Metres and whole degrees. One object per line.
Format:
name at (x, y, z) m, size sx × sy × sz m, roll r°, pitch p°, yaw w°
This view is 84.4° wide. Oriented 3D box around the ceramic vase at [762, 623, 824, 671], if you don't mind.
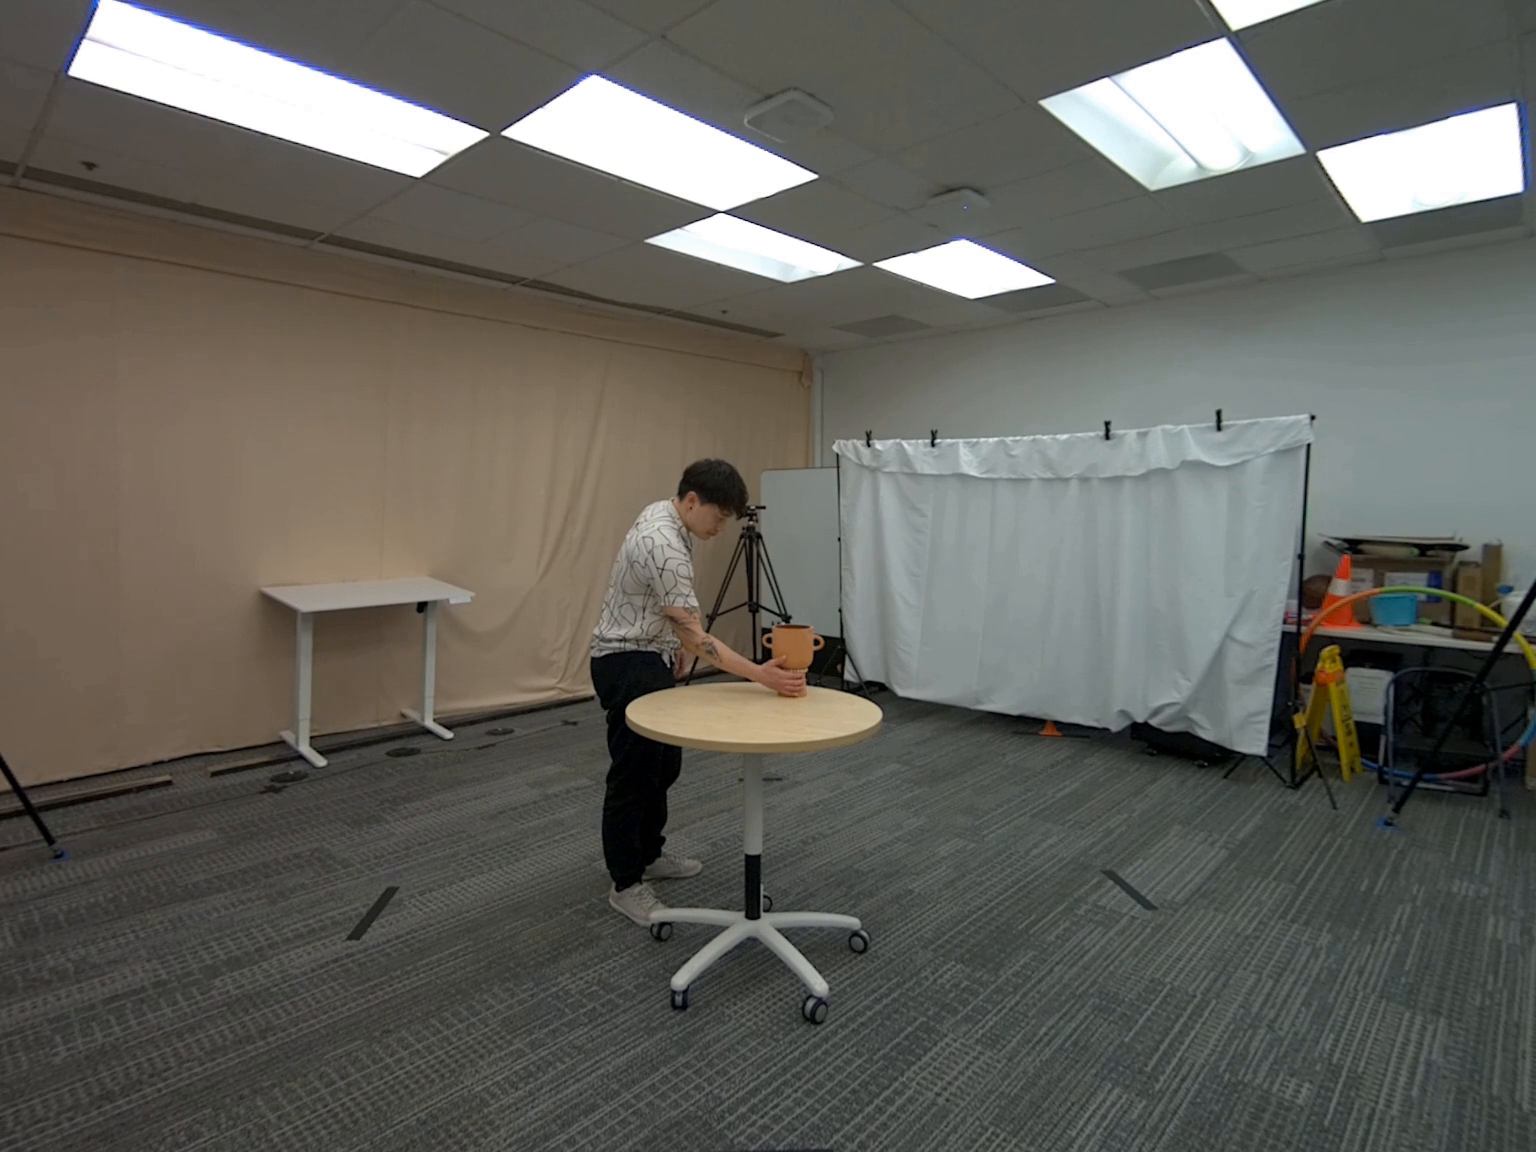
ceramic vase at (0.086, 0.276, 2.719) m, size 0.130 × 0.219 × 0.164 m, roll -2°, pitch 3°, yaw -42°
